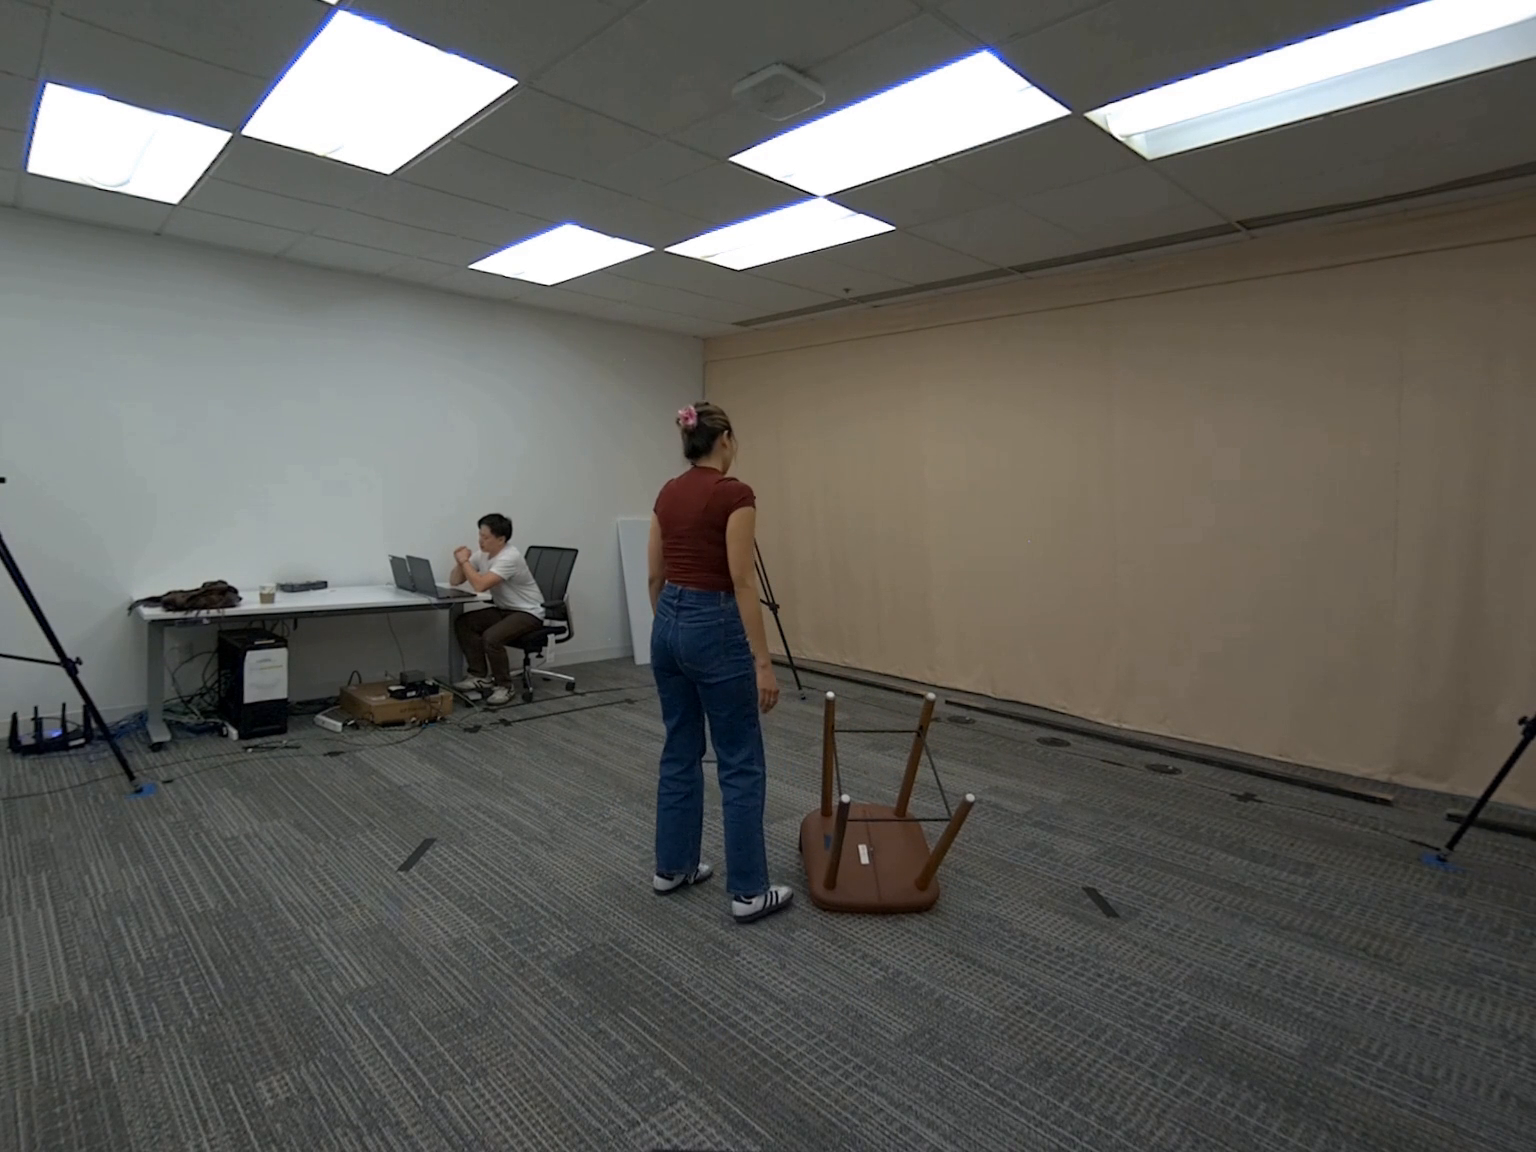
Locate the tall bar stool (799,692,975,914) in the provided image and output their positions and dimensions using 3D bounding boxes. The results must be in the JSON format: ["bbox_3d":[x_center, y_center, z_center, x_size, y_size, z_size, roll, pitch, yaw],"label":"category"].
[{"bbox_3d":[0.355,0.876,2.926,0.454,0.873,0.478,2,38,-6],"label":"tall bar stool"}]
